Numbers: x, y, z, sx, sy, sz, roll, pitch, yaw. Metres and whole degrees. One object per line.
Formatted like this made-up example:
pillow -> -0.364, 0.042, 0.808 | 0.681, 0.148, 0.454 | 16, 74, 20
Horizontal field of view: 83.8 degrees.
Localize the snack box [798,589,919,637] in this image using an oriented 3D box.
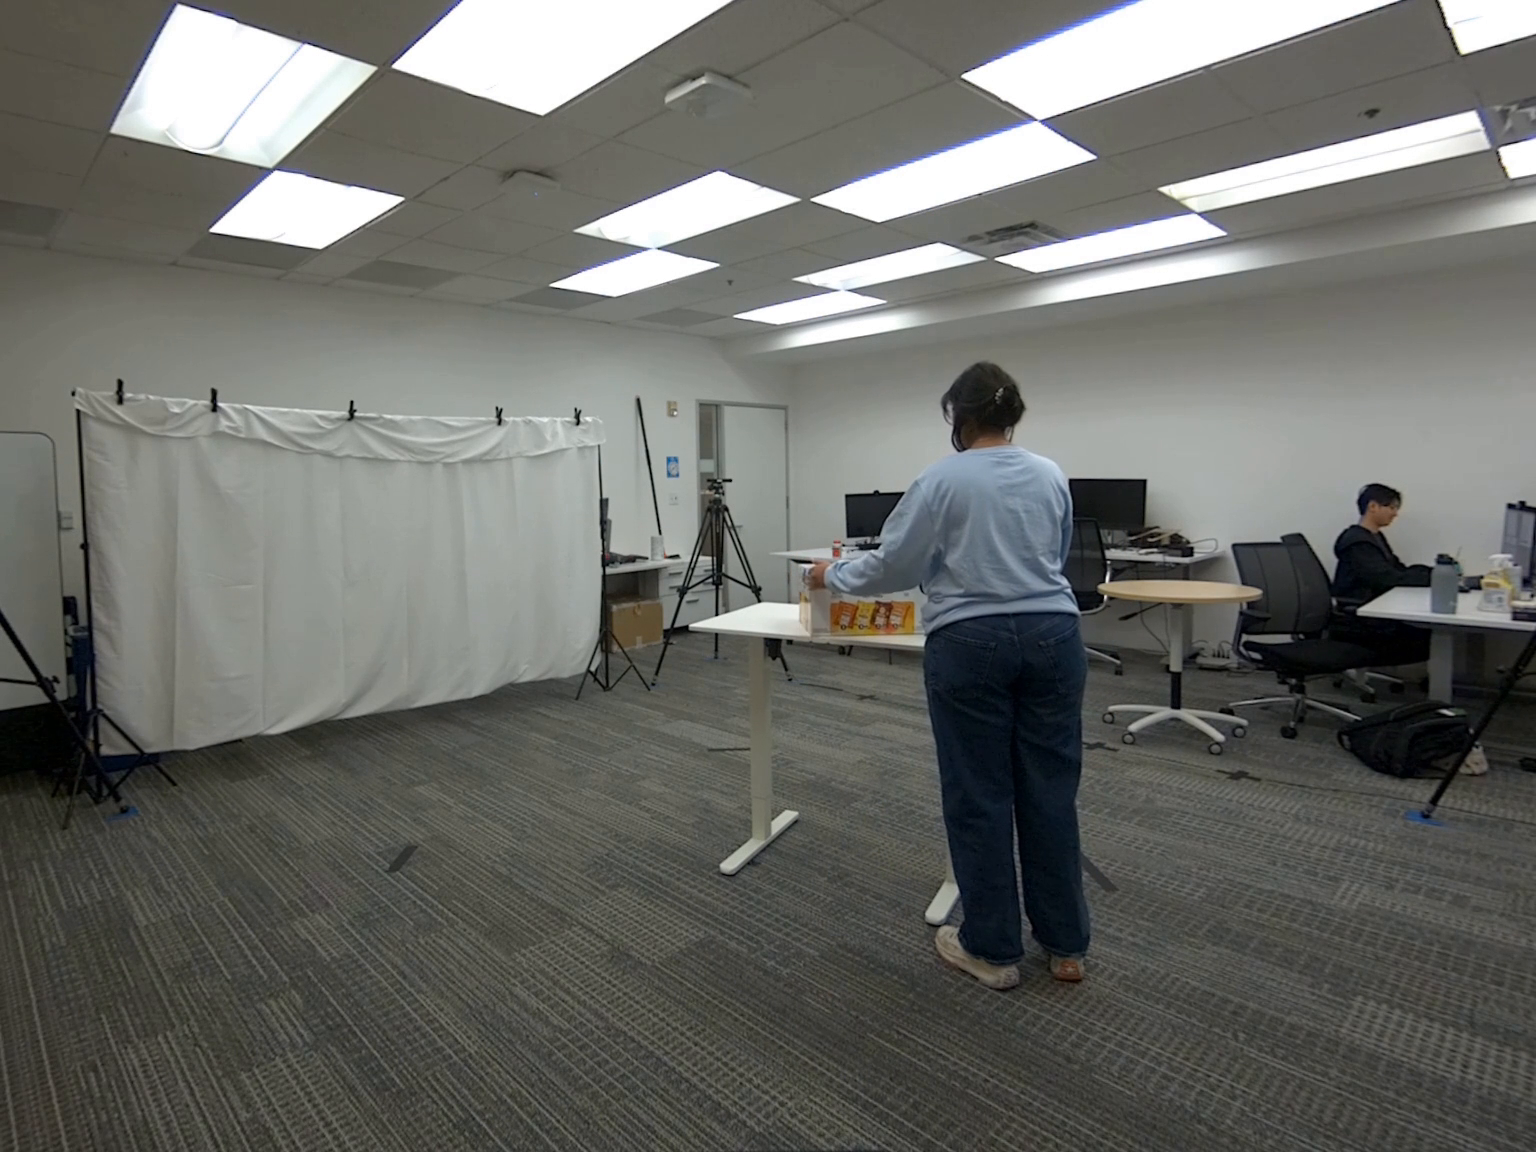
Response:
snack box -> 0.332, 0.074, 2.942 | 0.404, 0.205, 0.343 | -1, 6, -3
